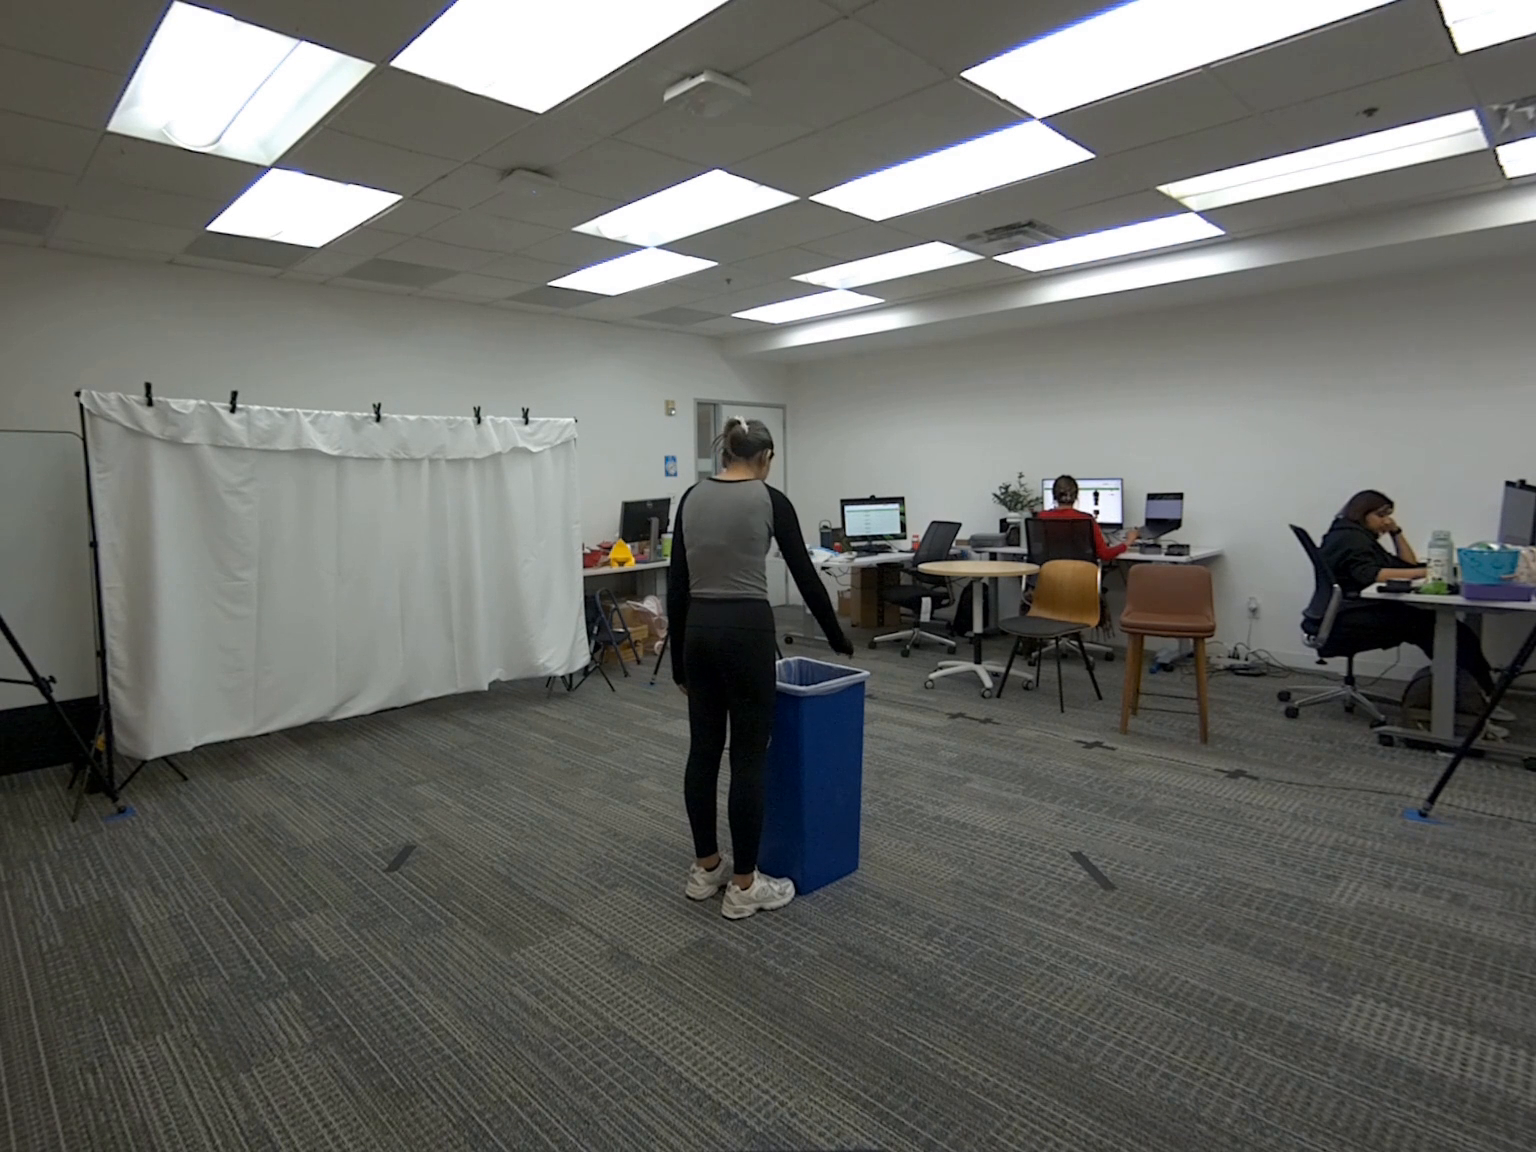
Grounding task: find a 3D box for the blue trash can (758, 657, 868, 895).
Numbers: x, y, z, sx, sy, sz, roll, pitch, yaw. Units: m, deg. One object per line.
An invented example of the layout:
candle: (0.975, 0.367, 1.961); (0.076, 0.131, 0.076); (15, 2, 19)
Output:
blue trash can: (0.124, 0.690, 3.032); (0.368, 0.711, 0.385); (-5, 5, -44)
